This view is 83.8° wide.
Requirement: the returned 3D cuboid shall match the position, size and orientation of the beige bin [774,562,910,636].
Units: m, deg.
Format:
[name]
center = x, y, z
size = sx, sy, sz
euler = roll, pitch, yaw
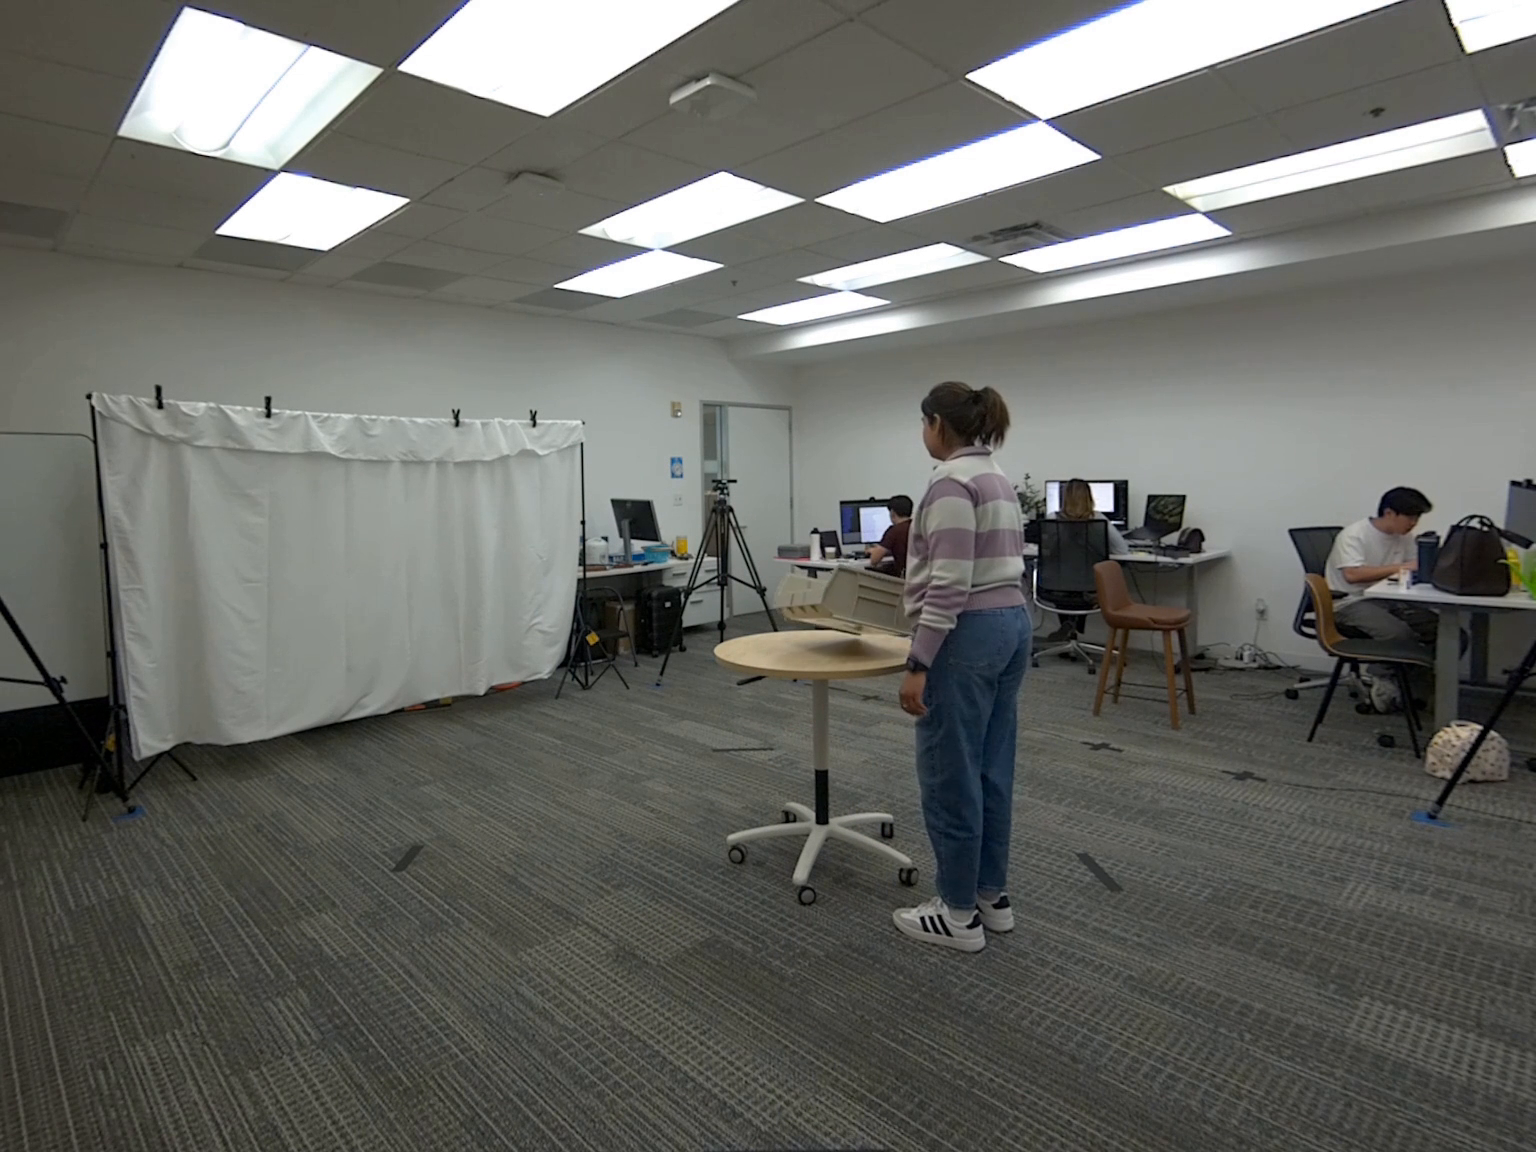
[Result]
[beige bin]
center = 0.277, 0.092, 3.042
size = 0.369, 0.190, 0.429
euler = 13, -9, -21
